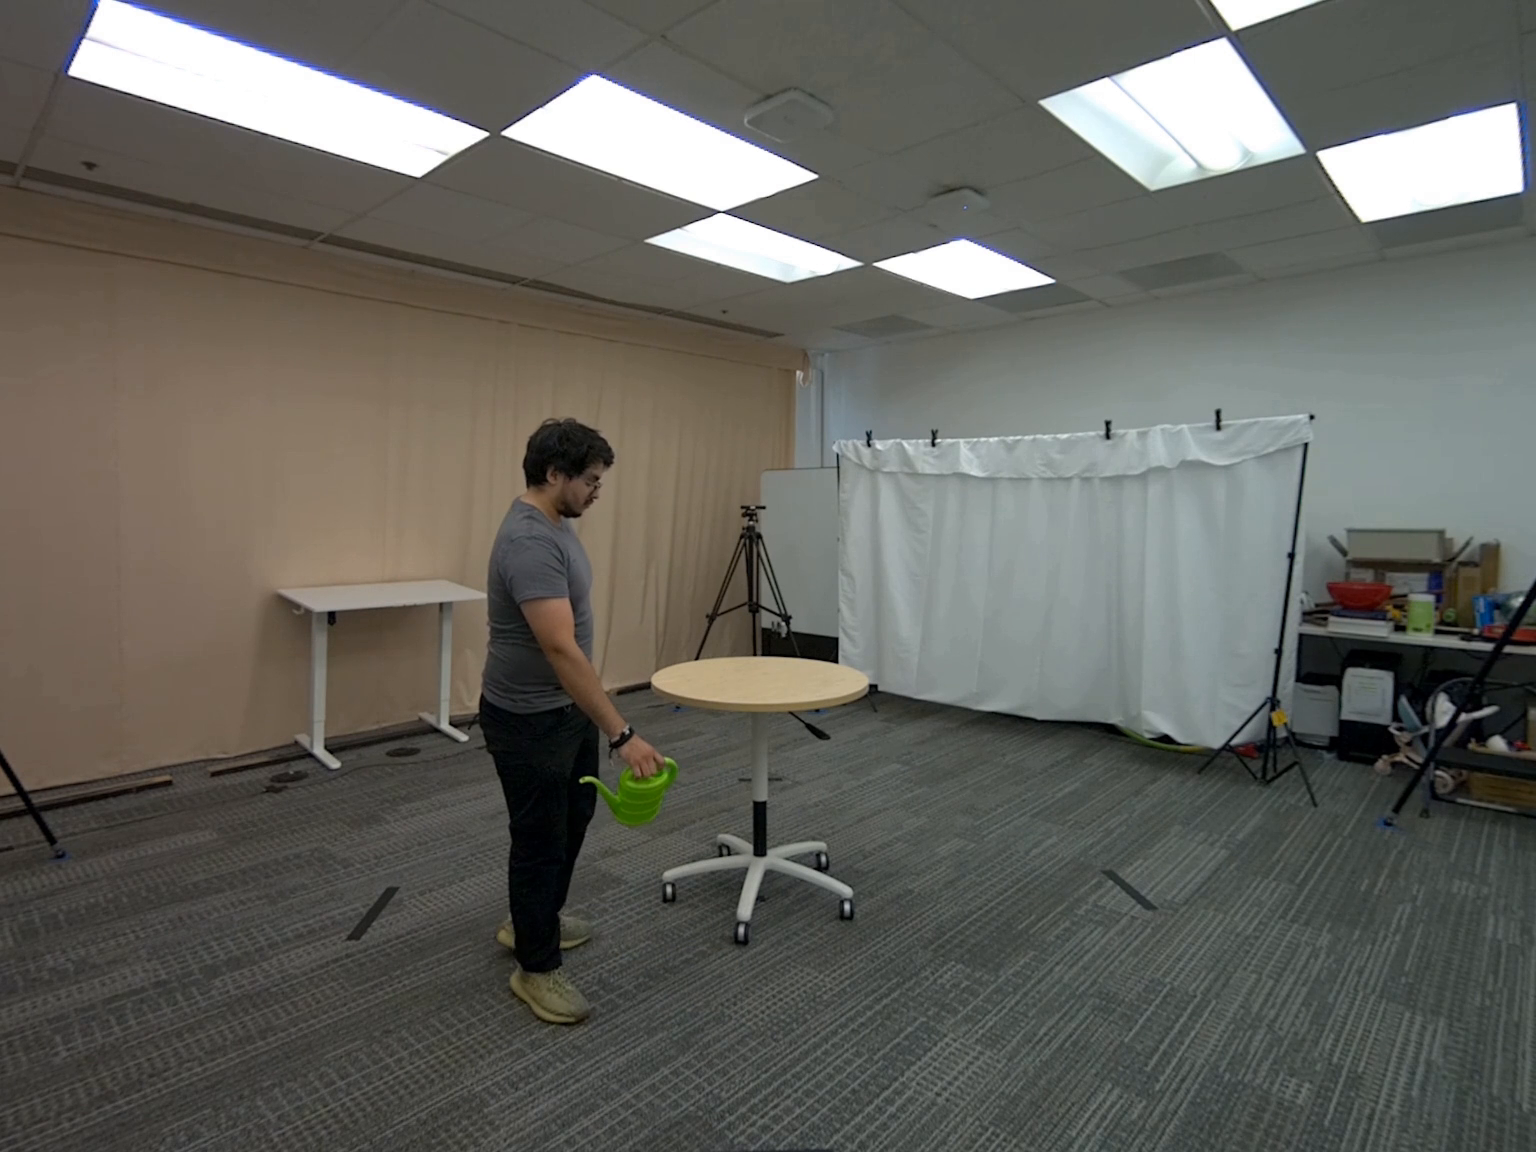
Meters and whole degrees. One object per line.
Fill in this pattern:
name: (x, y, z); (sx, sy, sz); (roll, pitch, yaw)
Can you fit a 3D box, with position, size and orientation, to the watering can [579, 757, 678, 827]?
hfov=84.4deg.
watering can: (-0.370, 0.542, 2.119); (0.271, 0.175, 0.101); (2, 27, -24)
